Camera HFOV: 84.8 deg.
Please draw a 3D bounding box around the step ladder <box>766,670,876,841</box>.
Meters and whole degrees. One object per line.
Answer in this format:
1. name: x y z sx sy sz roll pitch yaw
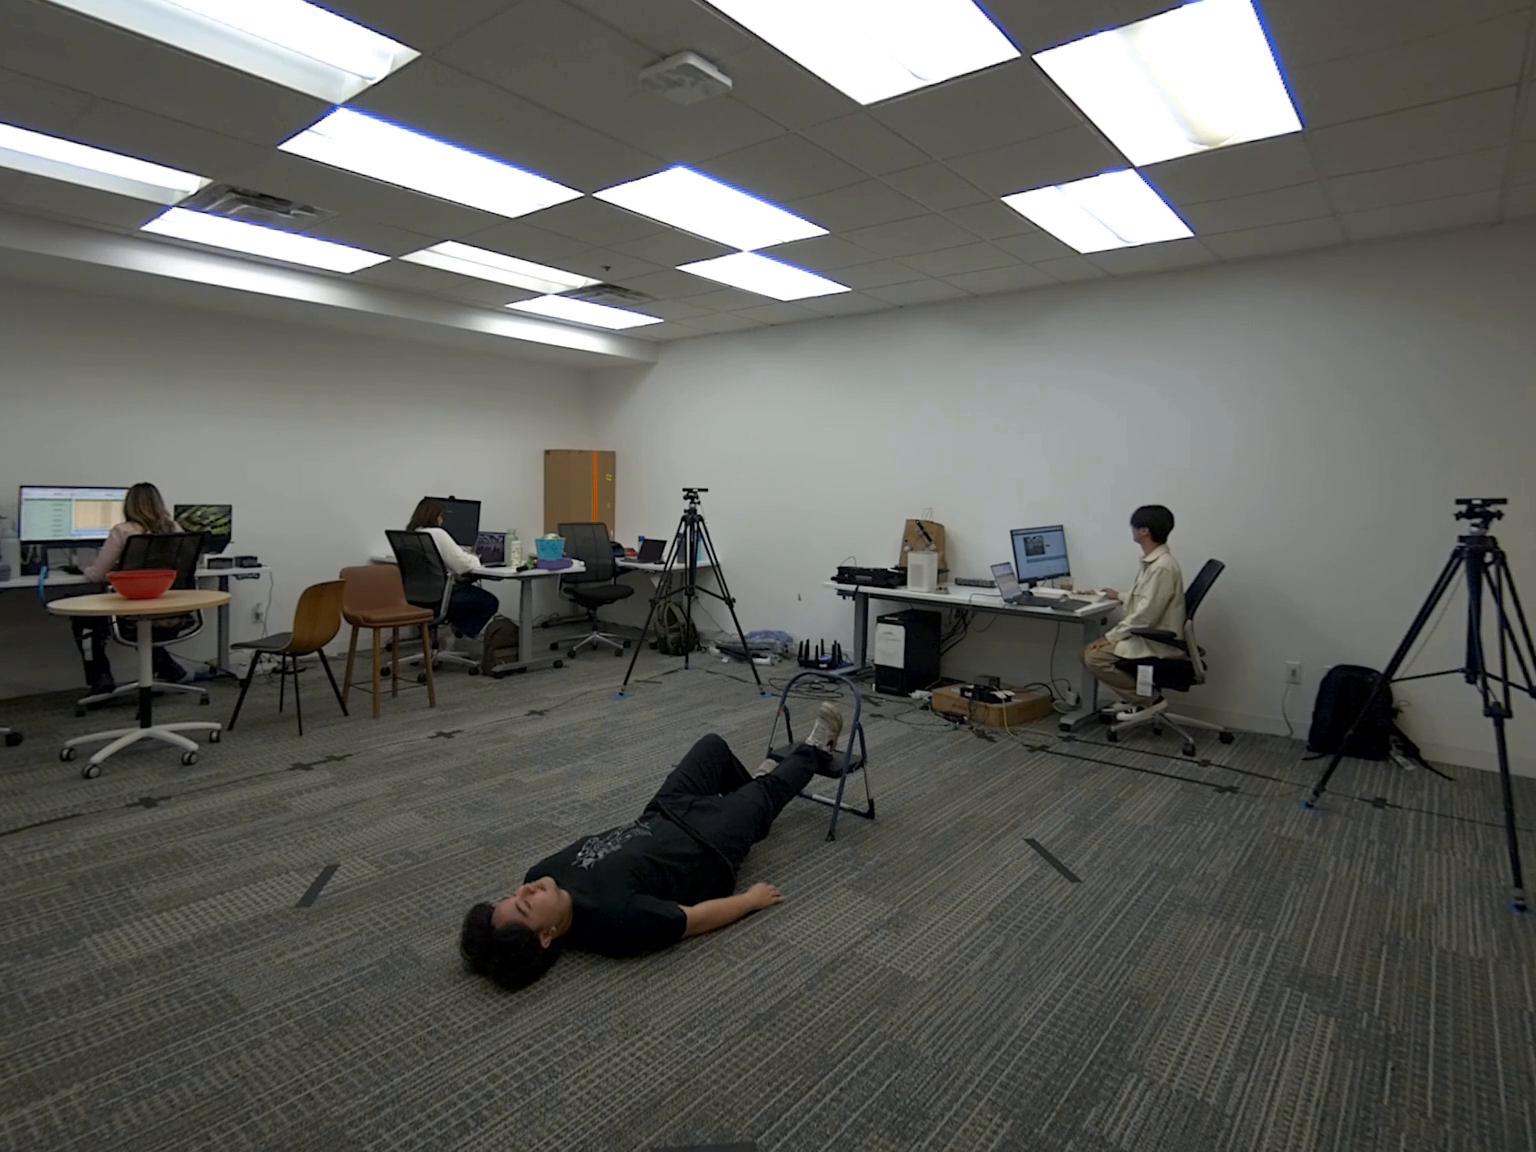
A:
1. step ladder: 0.197 0.727 3.640 0.445 0.604 0.339 4 5 40
